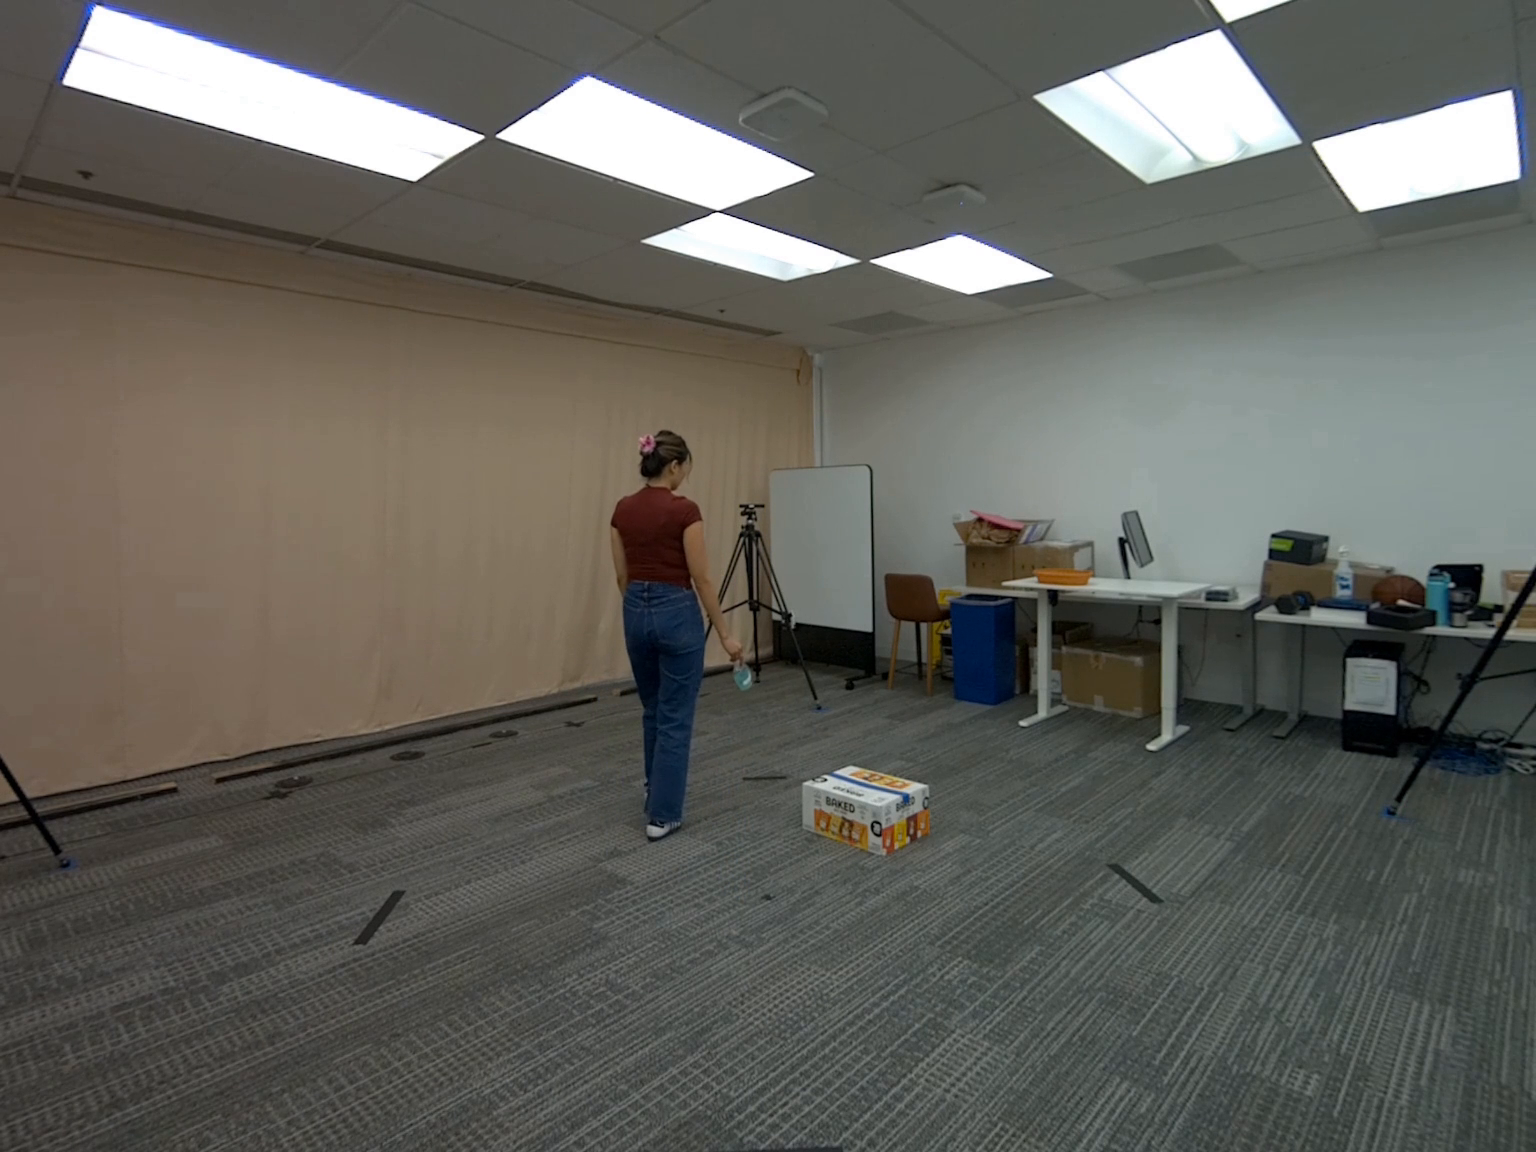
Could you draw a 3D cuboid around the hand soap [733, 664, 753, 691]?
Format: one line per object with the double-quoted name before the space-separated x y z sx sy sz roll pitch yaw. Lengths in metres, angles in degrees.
"hand soap" -0.127 0.416 3.635 0.083 0.166 0.045 -29 21 -36
